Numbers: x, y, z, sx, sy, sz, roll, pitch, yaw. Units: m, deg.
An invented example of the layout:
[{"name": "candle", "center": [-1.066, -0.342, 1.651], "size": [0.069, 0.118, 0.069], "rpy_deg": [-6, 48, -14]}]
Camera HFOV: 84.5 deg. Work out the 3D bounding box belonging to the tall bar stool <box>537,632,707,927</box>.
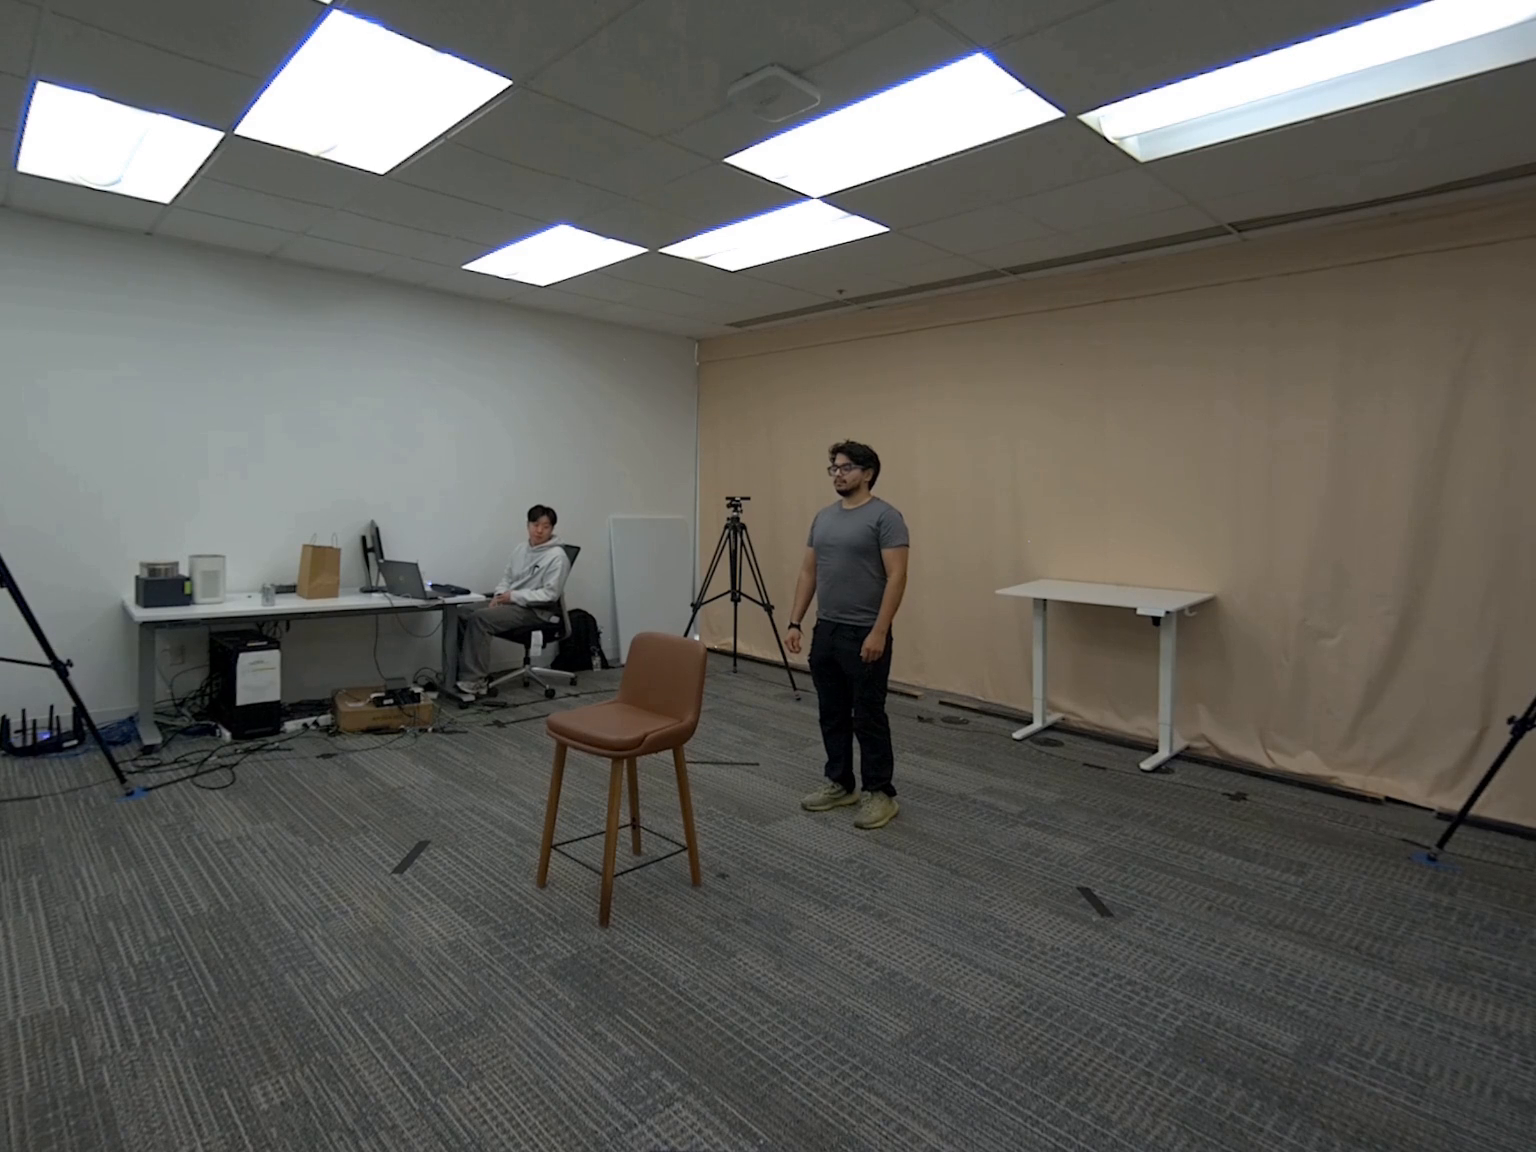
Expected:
[{"name": "tall bar stool", "center": [-0.516, 0.675, 2.982], "size": [0.468, 0.888, 0.456], "rpy_deg": [4, 3, 45]}]
